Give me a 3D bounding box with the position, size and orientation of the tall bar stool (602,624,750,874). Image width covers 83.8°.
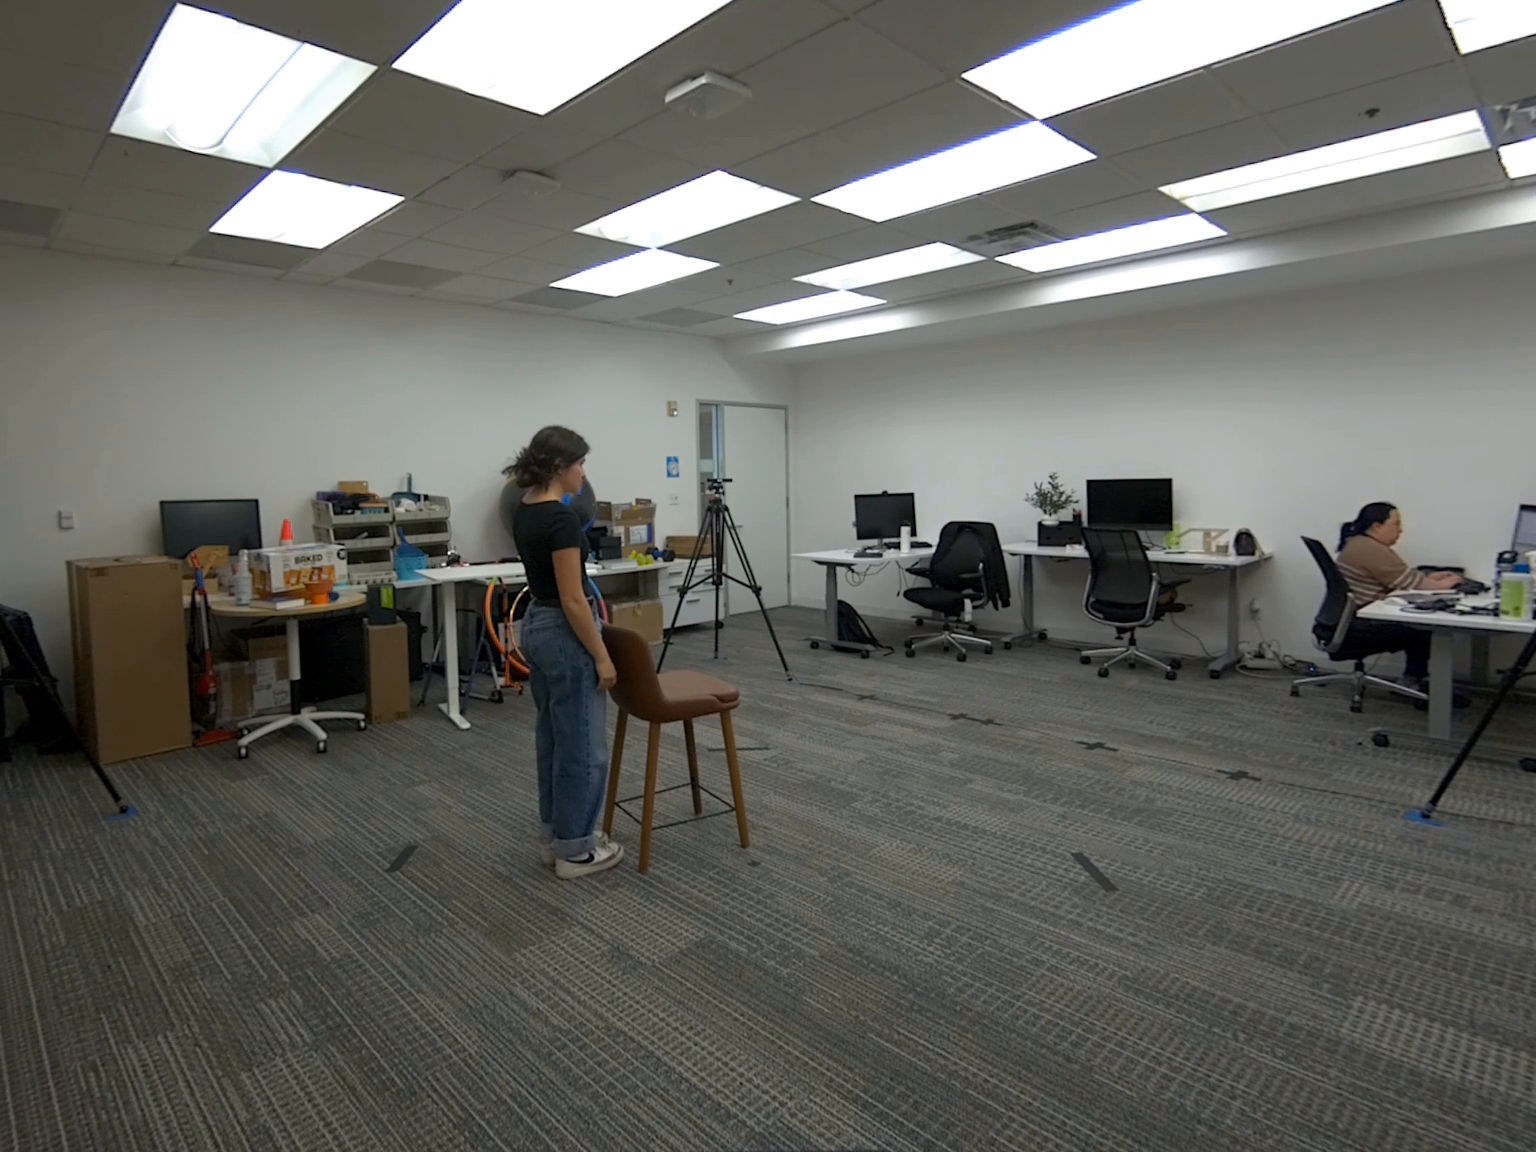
[{"bbox_3d":[-0.376,0.596,3.284,0.457,0.886,0.469,-6,6,-32],"label":"tall bar stool"}]
